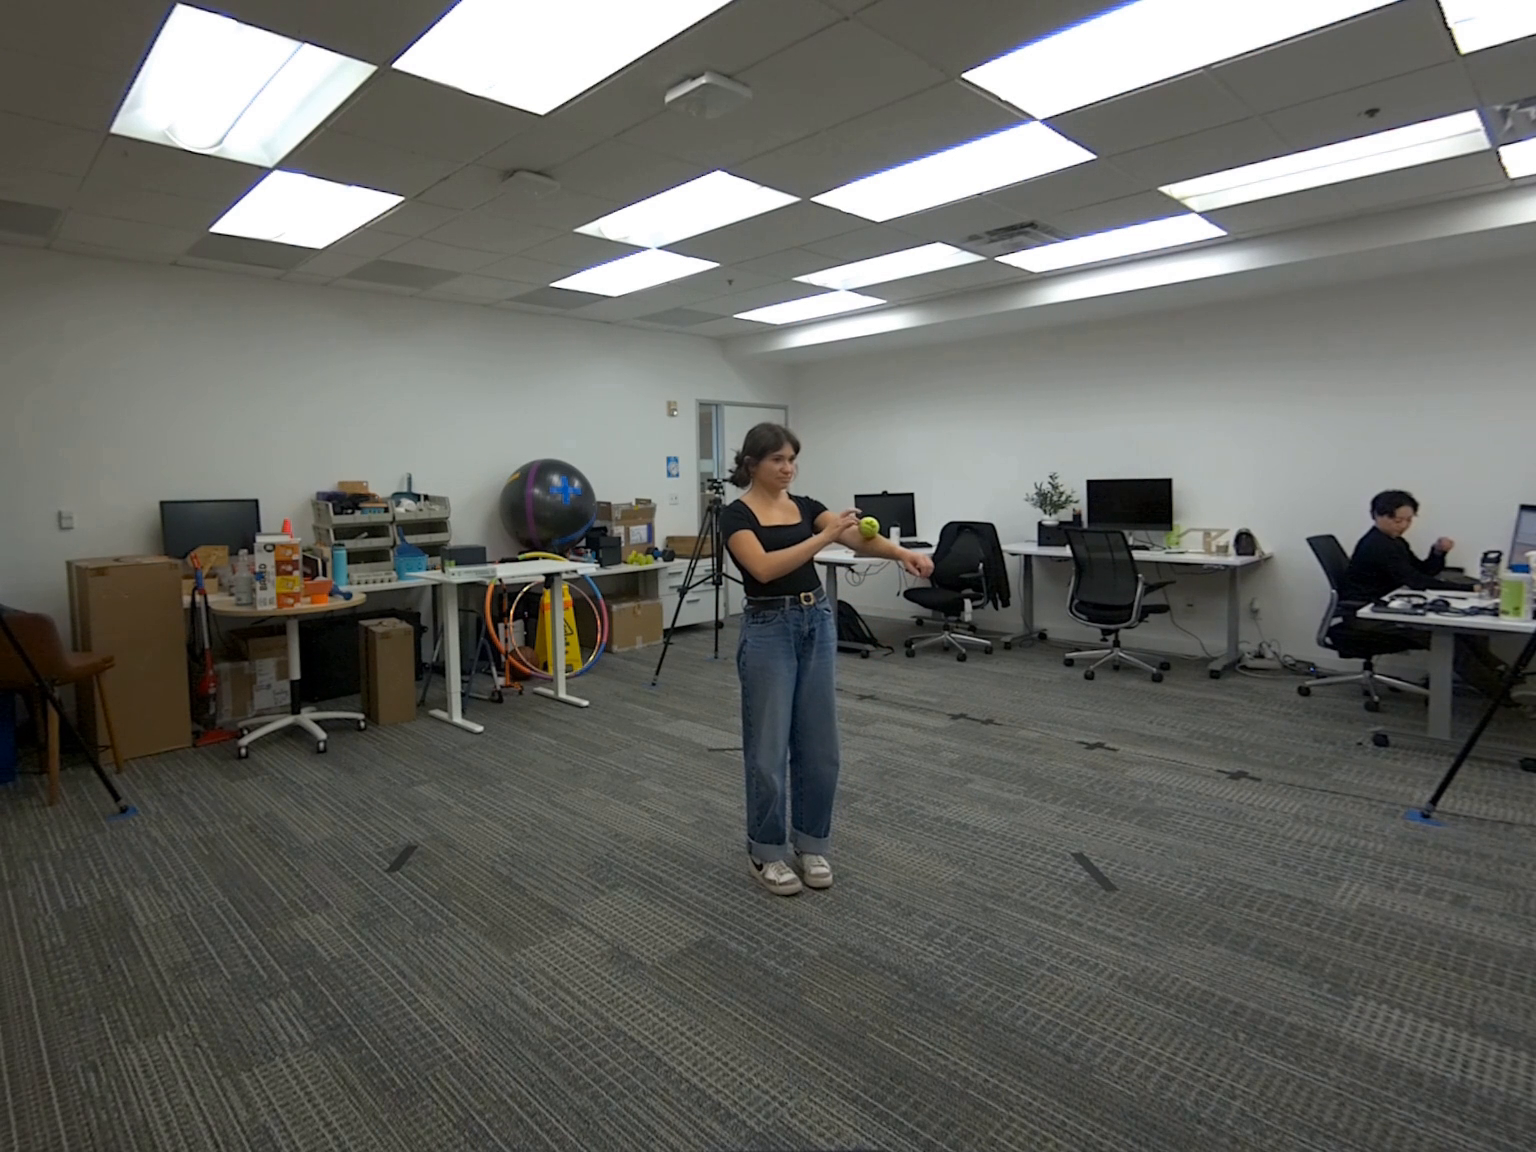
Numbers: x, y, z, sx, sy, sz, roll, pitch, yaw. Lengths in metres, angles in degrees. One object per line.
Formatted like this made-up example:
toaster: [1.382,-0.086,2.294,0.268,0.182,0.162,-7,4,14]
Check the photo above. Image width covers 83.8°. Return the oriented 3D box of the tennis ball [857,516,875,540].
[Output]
tennis ball: [0.280,-0.153,2.786,0.066,0.066,0.067,-1,5,-2]
